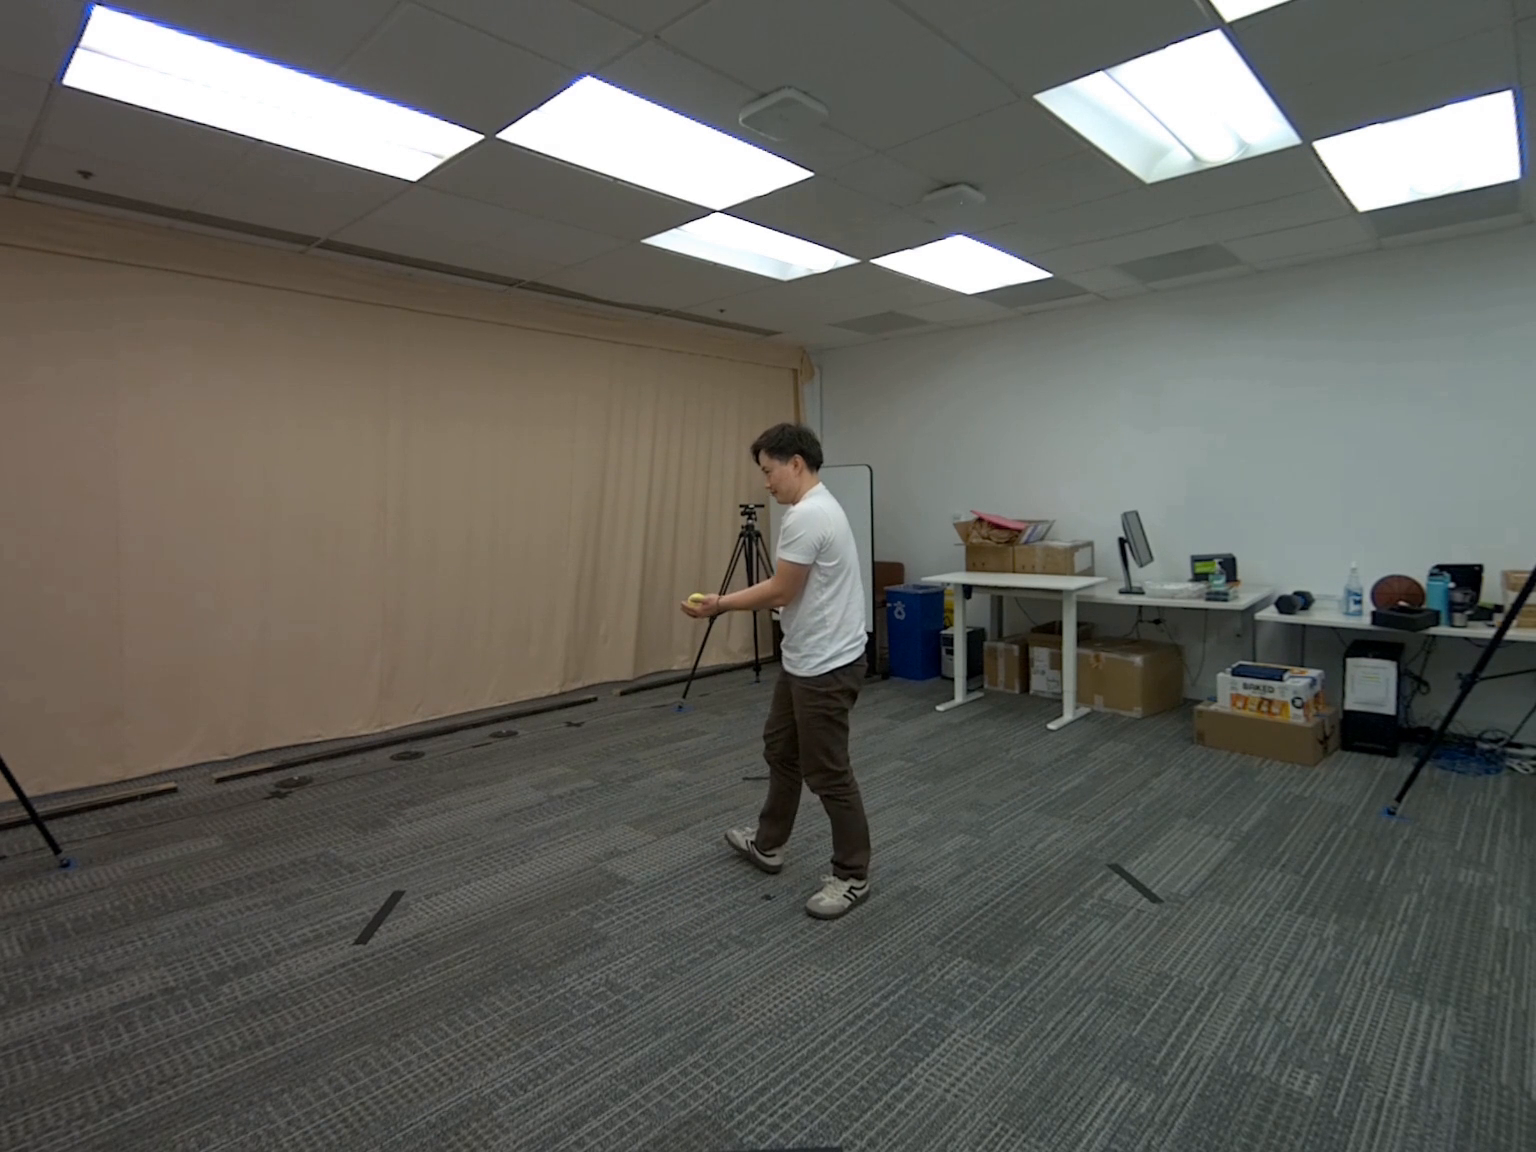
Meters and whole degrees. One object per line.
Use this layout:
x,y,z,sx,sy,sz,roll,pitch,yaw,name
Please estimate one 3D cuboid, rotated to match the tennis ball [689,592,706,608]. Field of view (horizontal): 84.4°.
-0.215,0.064,2.998,0.066,0.066,0.067,-1,4,-2,tennis ball
